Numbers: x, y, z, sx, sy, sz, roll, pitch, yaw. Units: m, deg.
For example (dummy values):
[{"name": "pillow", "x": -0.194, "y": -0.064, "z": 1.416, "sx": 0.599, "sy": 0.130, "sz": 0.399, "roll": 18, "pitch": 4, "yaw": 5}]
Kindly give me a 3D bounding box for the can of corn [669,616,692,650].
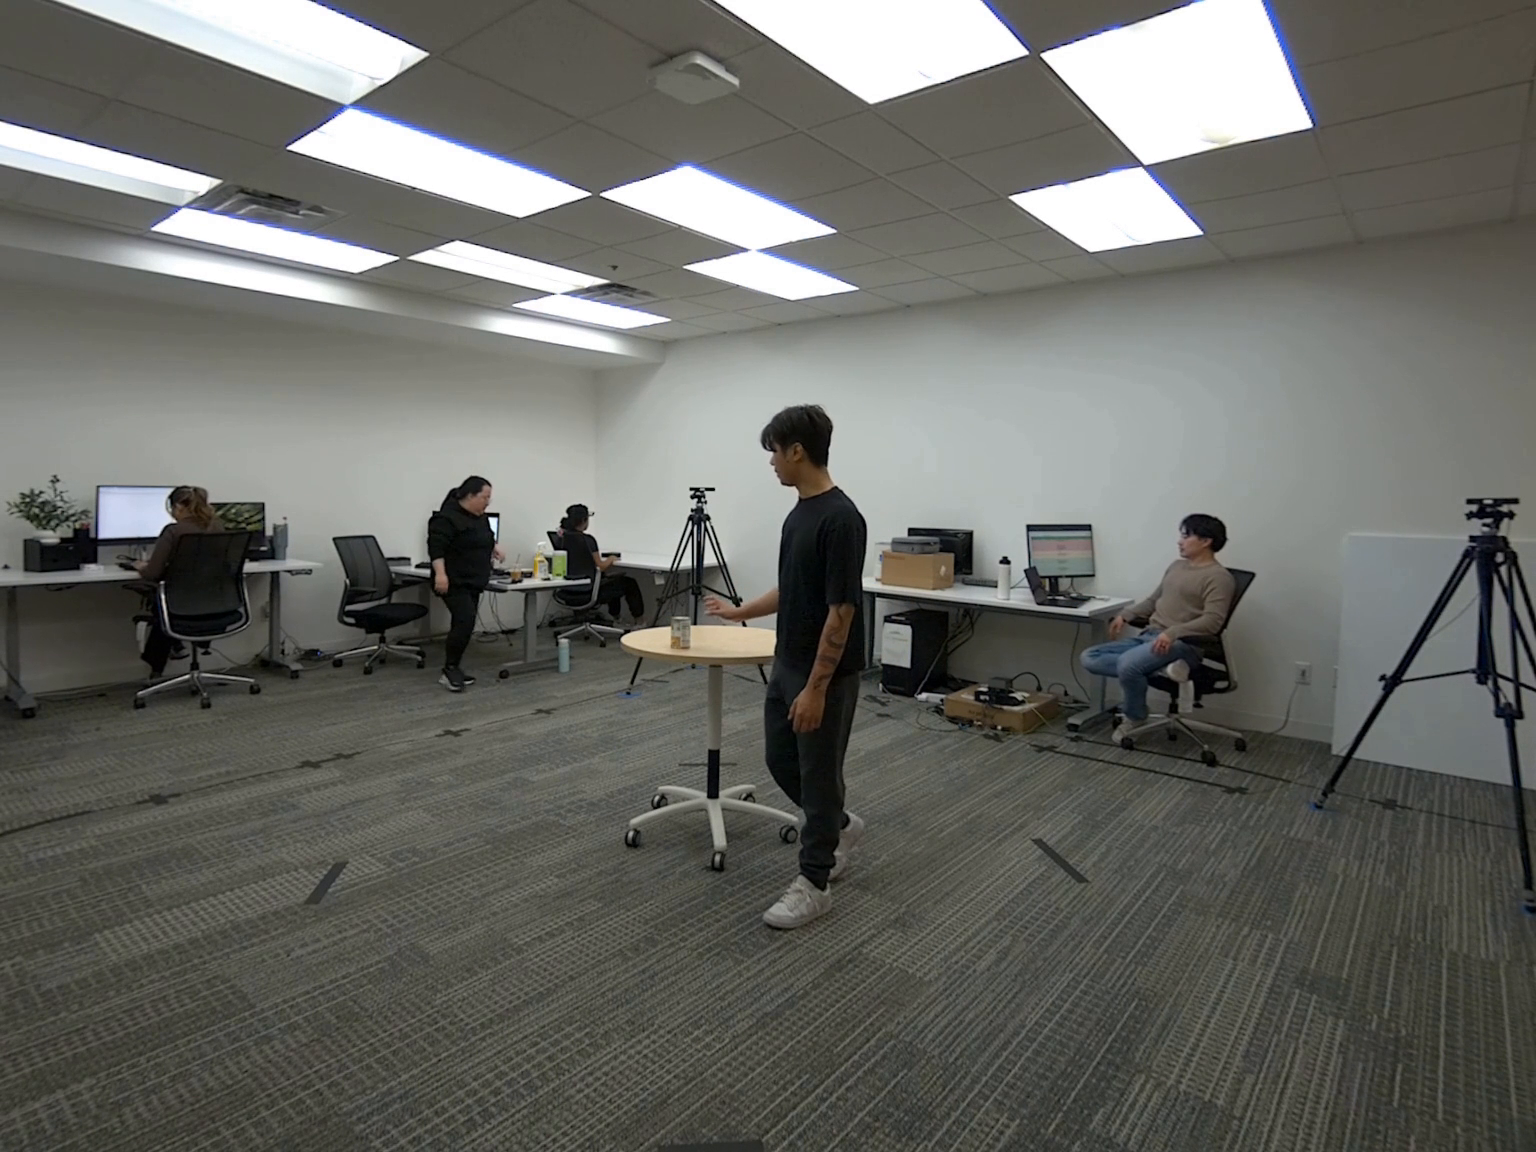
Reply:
[{"name": "can of corn", "x": -0.342, "y": 0.212, "z": 3.226, "sx": 0.074, "sy": 0.111, "sz": 0.074, "roll": 1, "pitch": 2, "yaw": -2}]
